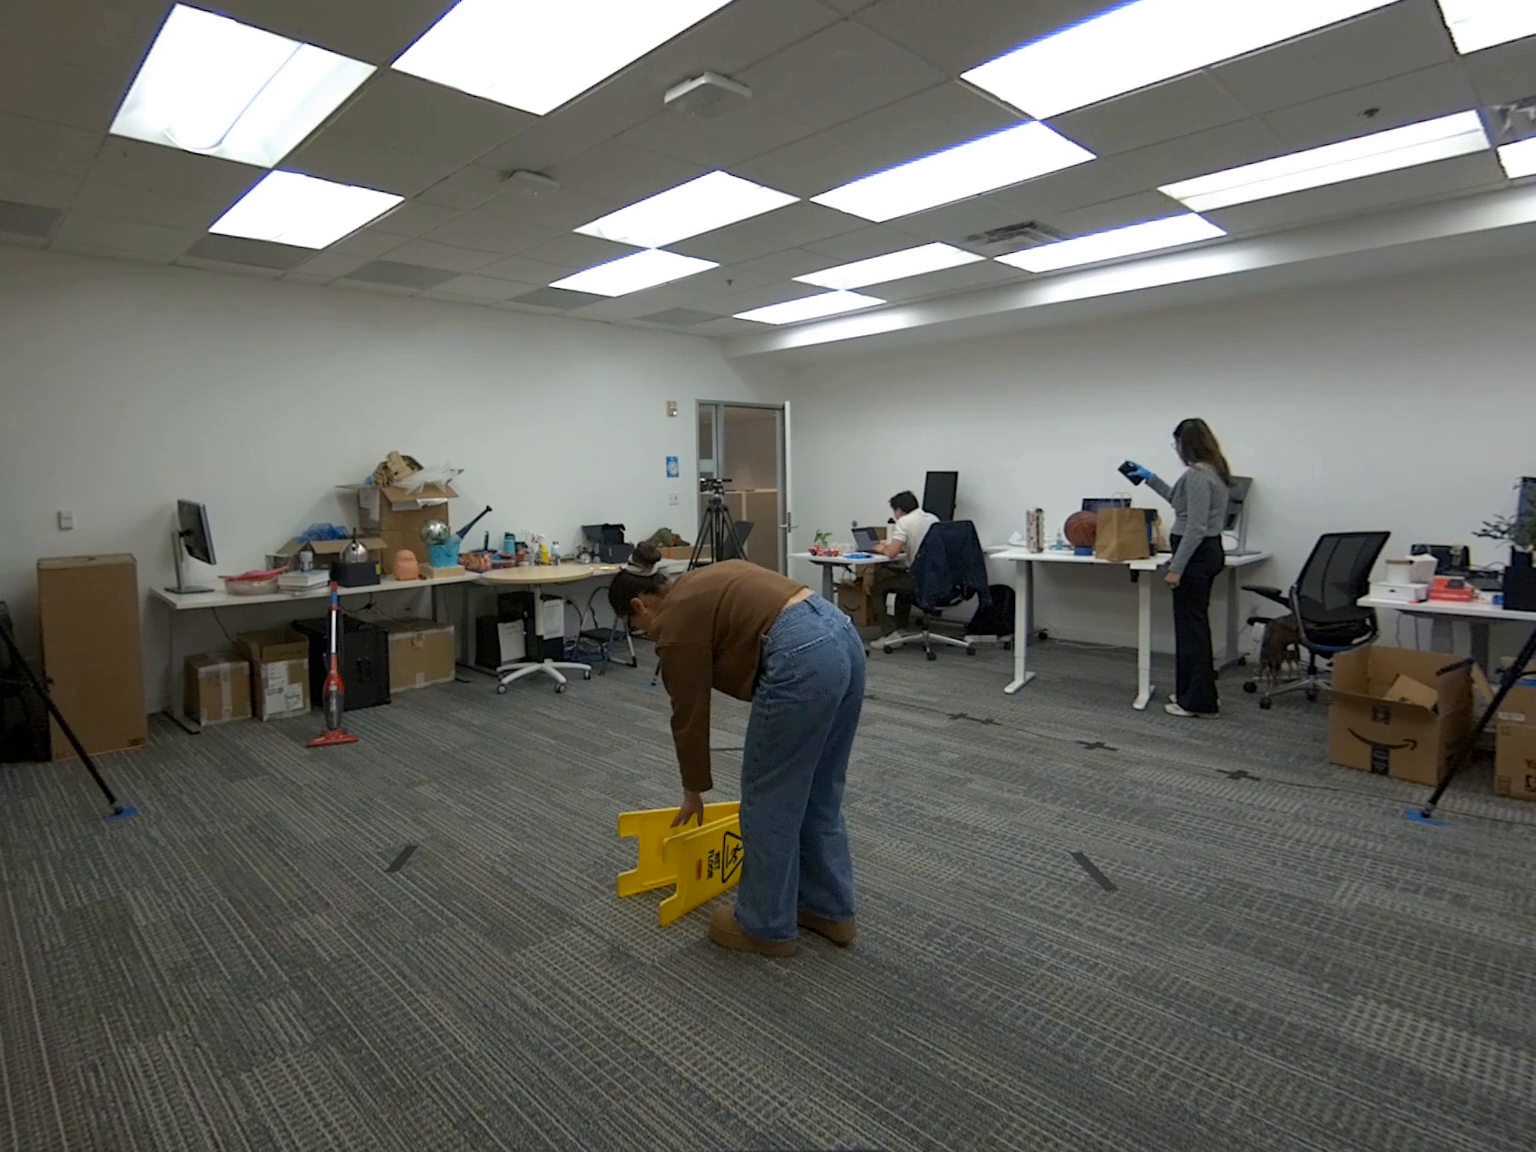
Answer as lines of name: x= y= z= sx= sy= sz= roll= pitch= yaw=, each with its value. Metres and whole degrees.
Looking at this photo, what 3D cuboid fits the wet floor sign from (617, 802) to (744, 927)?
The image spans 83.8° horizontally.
wet floor sign: x=-0.177 y=0.937 z=2.968 sx=0.628 sy=0.281 sz=0.298 roll=-3 pitch=5 yaw=-40
